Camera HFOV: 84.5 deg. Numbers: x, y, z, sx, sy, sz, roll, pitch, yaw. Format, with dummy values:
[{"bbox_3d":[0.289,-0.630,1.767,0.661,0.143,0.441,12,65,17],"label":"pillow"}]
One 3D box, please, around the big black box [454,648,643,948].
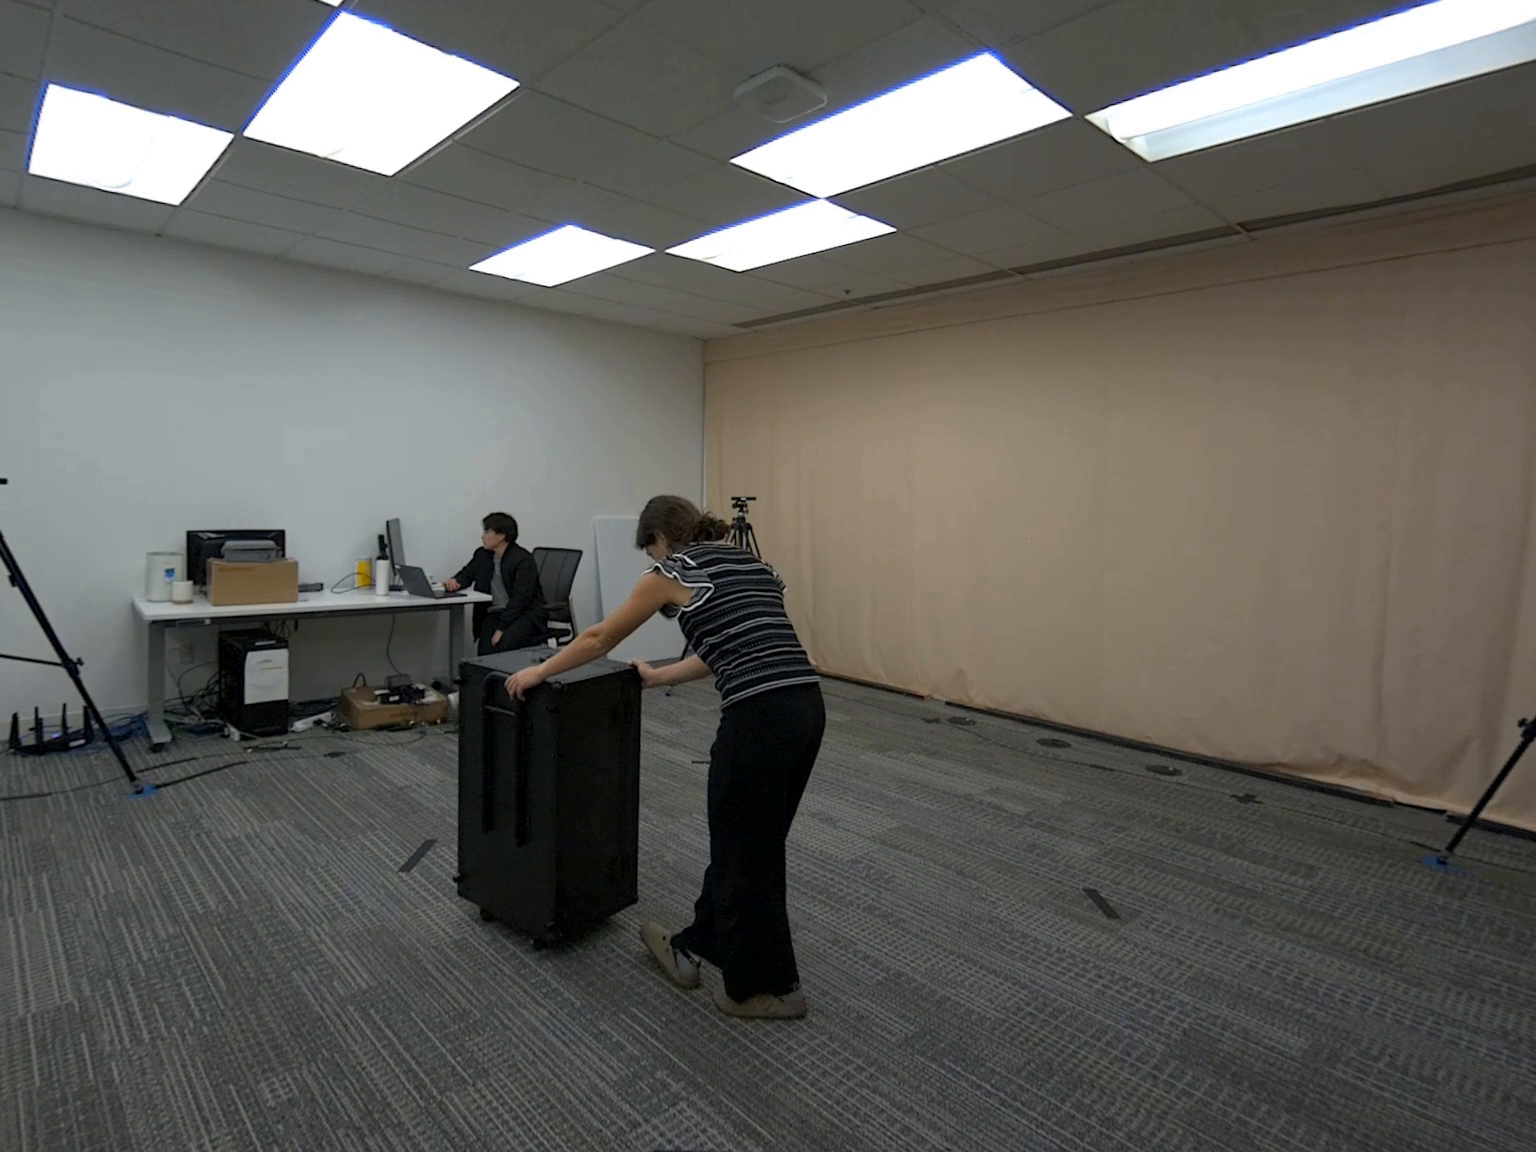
[{"bbox_3d":[-0.719,0.708,2.714,0.534,0.858,0.388,5,6,36],"label":"big black box"}]
